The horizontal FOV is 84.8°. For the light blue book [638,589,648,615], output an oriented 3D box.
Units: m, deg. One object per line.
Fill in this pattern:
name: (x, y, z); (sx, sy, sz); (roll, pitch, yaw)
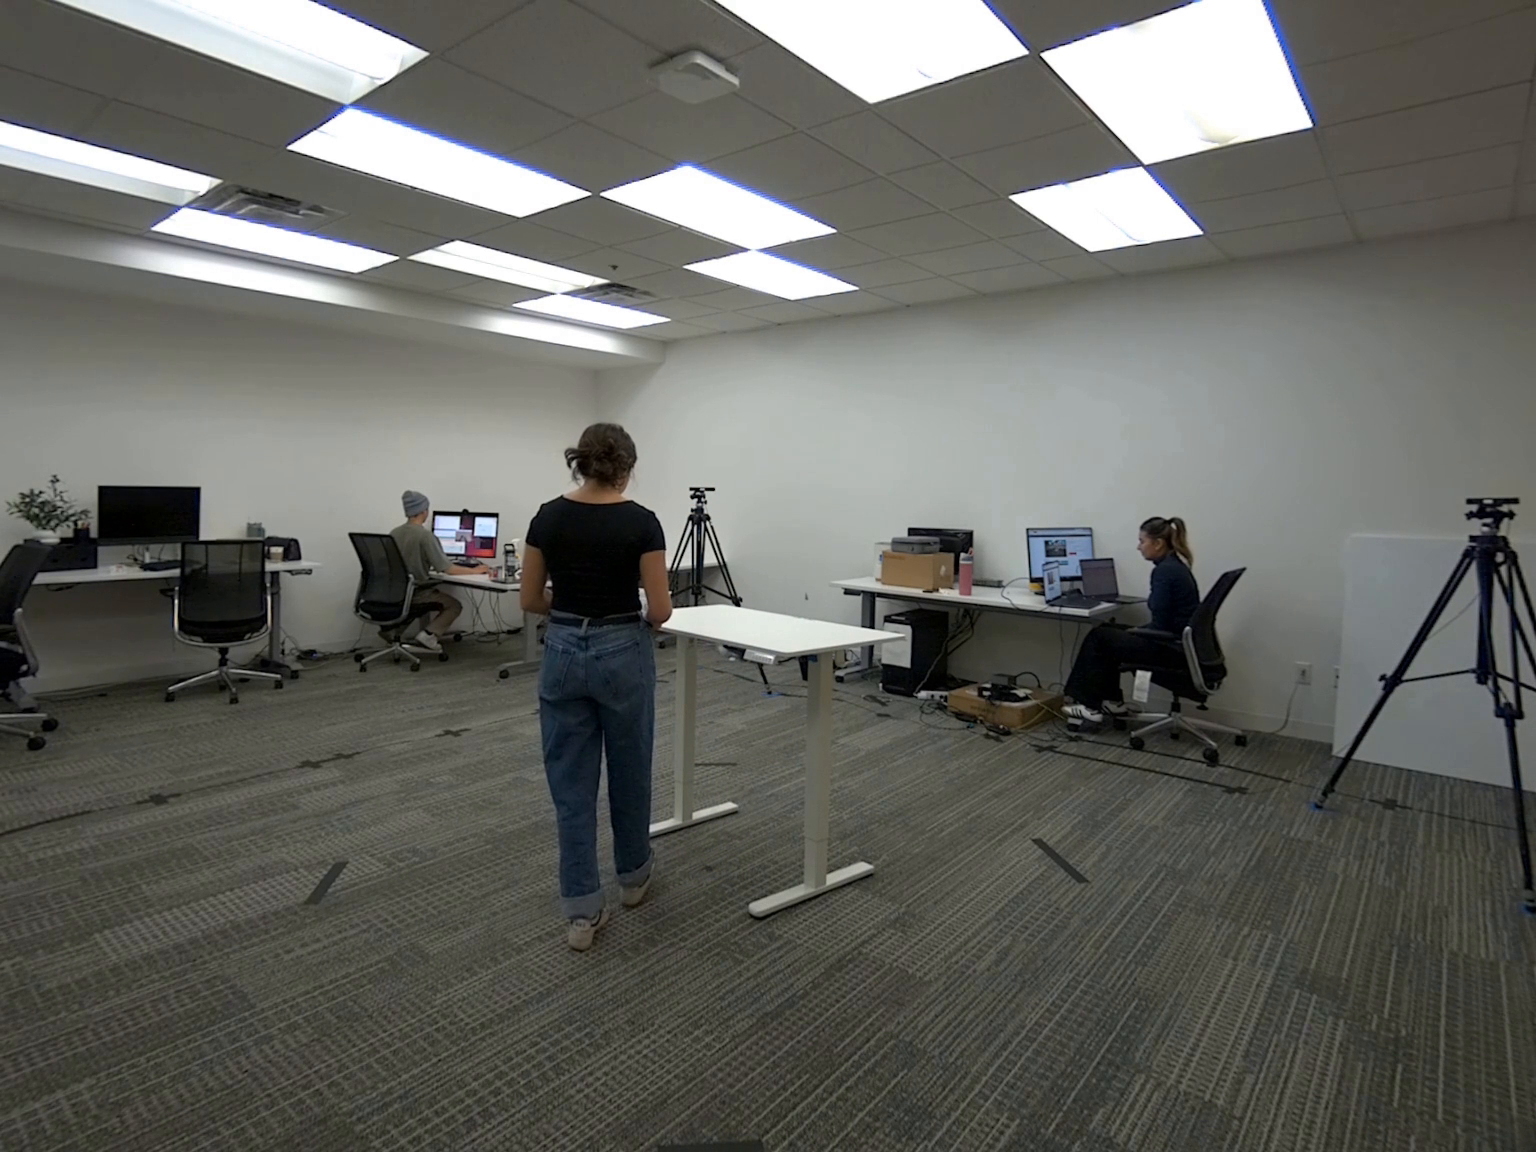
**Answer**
light blue book: (-0.467, 0.110, 2.903); (0.195, 0.058, 0.260); (4, 17, 15)
